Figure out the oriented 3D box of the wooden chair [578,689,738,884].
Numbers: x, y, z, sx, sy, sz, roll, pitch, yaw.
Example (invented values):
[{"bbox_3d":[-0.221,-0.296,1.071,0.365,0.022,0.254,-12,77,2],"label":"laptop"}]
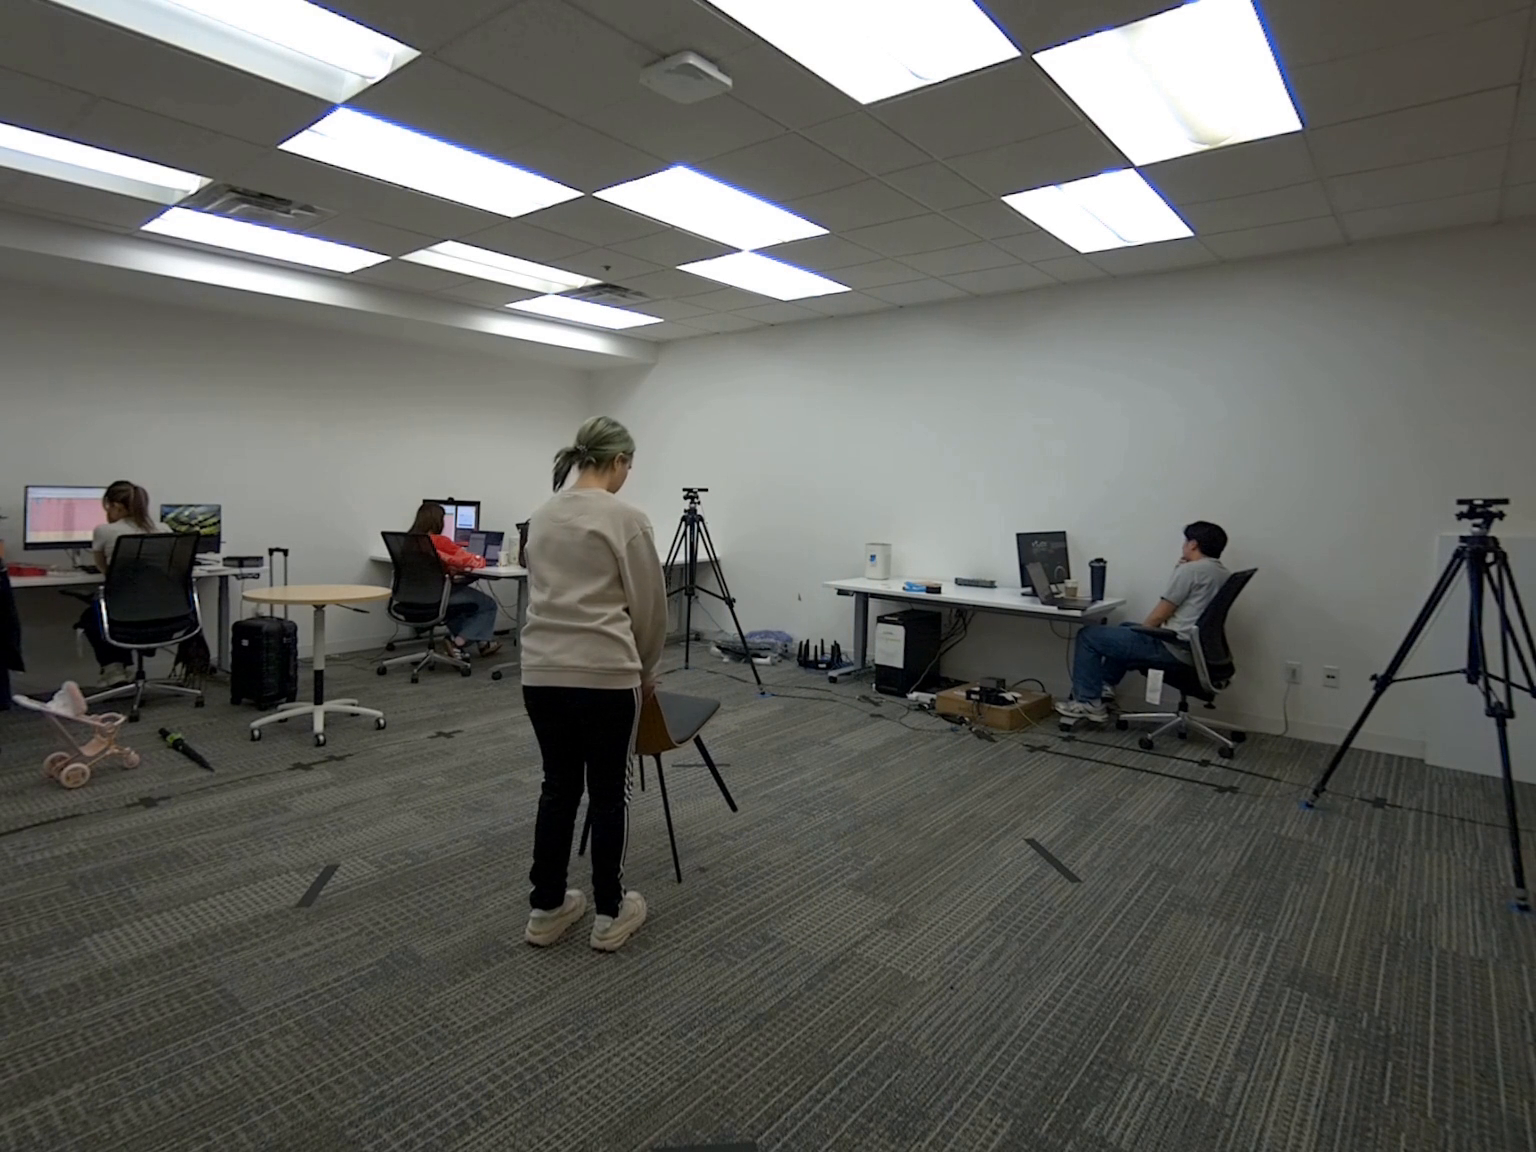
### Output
[{"bbox_3d":[-0.463,0.582,3.170,0.491,0.859,0.520,3,23,27],"label":"wooden chair"}]
